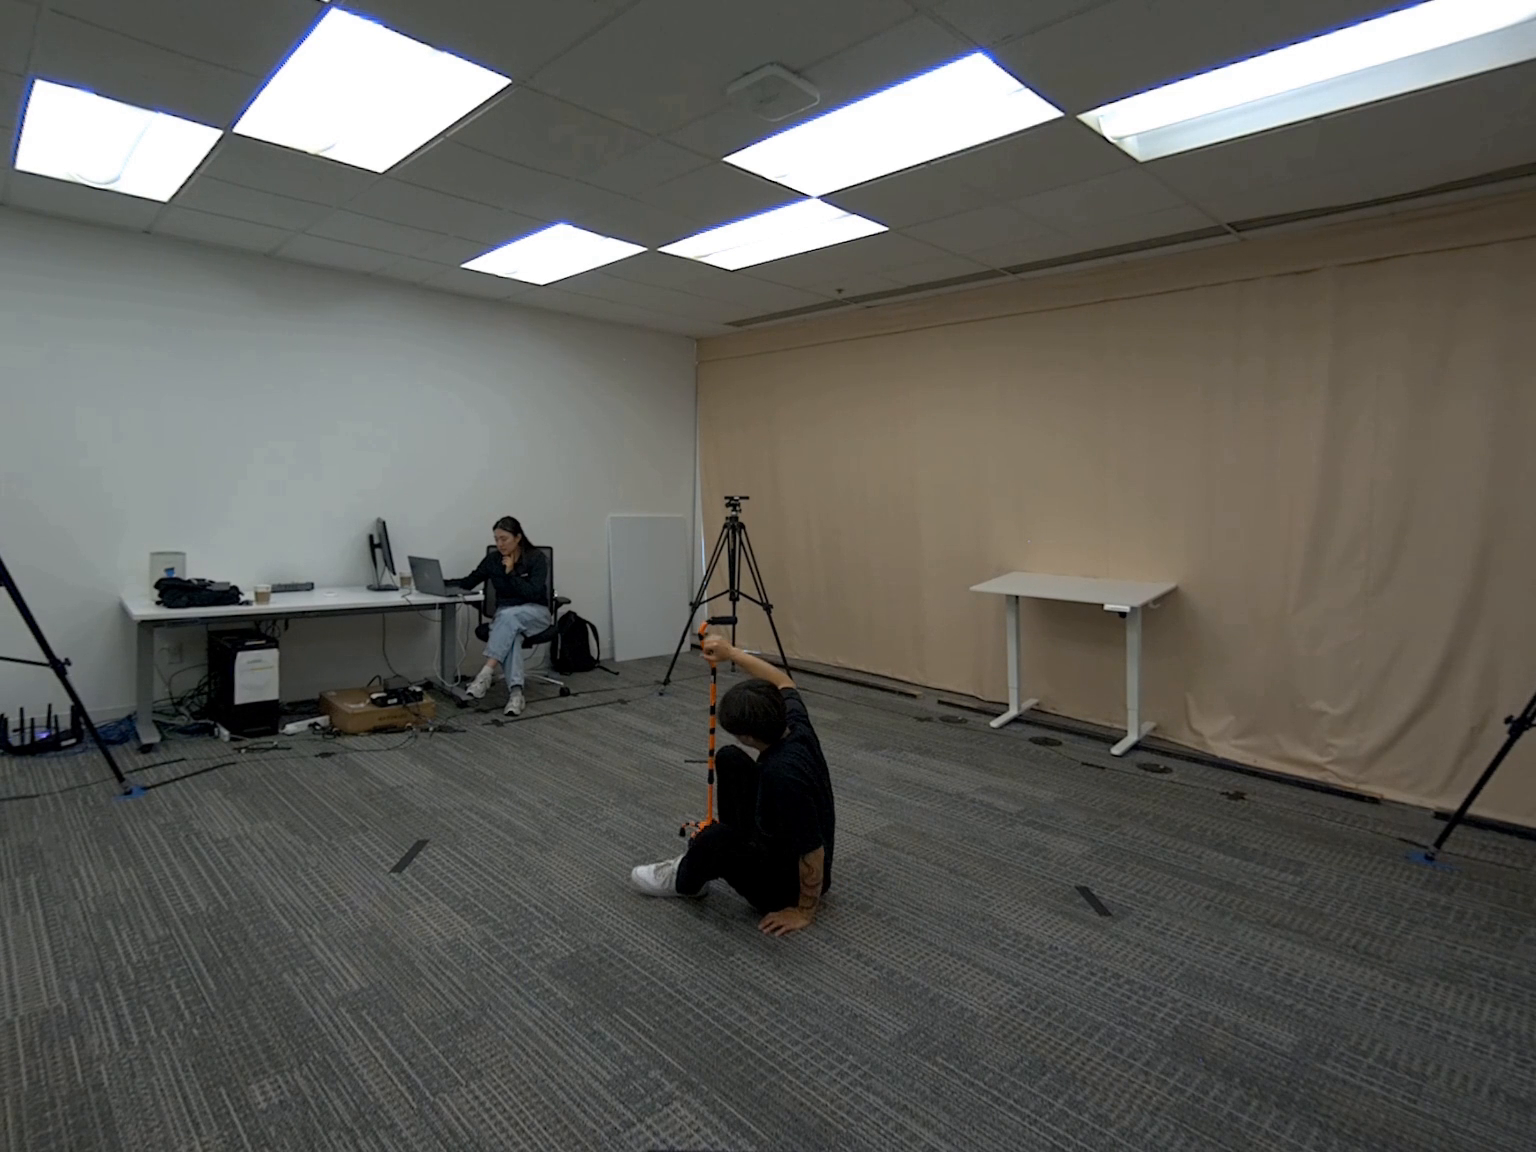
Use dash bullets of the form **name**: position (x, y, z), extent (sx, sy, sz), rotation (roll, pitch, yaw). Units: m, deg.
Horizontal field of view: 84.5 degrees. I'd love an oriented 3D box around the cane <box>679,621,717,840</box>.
- **cane**: position (-0.244, 0.621, 3.410), extent (0.203, 0.906, 0.154), rotation (0, 3, -23)
